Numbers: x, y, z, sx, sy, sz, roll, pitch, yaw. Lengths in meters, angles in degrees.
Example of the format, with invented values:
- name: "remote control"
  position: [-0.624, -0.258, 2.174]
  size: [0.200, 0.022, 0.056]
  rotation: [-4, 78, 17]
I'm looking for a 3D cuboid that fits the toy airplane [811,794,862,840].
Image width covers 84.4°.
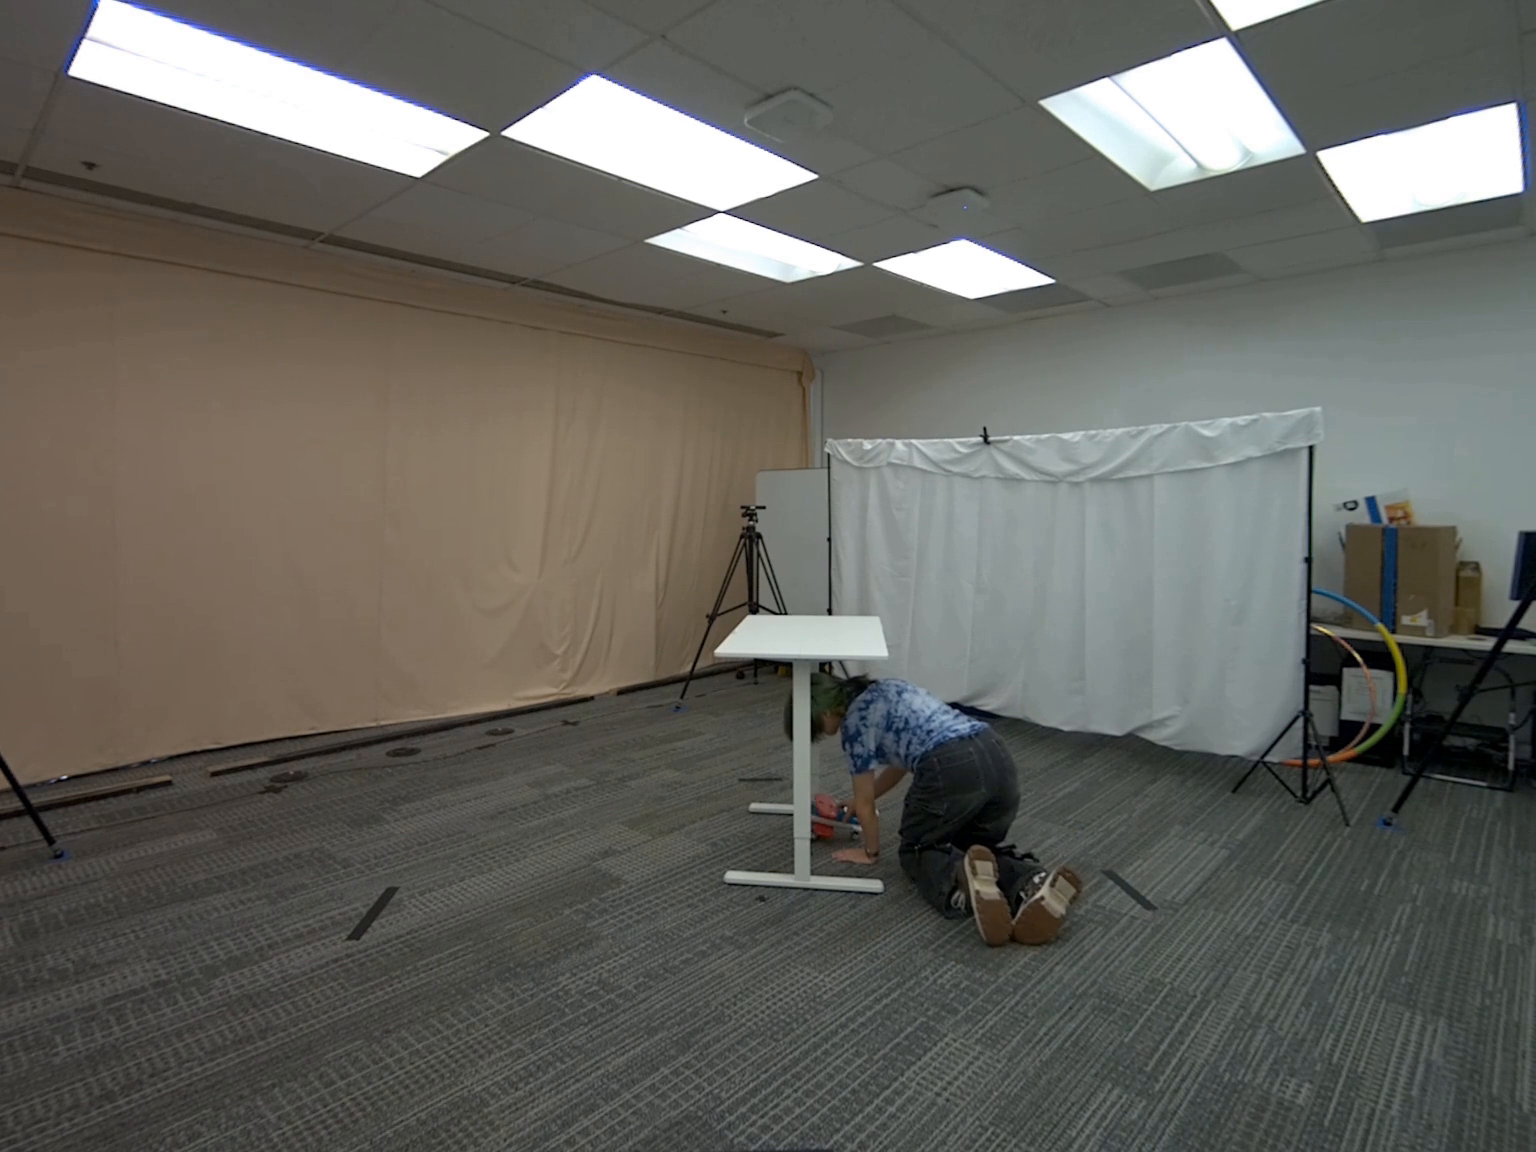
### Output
- name: "toy airplane"
  position: [0.275, 1.025, 3.552]
  size: [0.253, 0.156, 0.258]
  rotation: [-4, 5, -26]
